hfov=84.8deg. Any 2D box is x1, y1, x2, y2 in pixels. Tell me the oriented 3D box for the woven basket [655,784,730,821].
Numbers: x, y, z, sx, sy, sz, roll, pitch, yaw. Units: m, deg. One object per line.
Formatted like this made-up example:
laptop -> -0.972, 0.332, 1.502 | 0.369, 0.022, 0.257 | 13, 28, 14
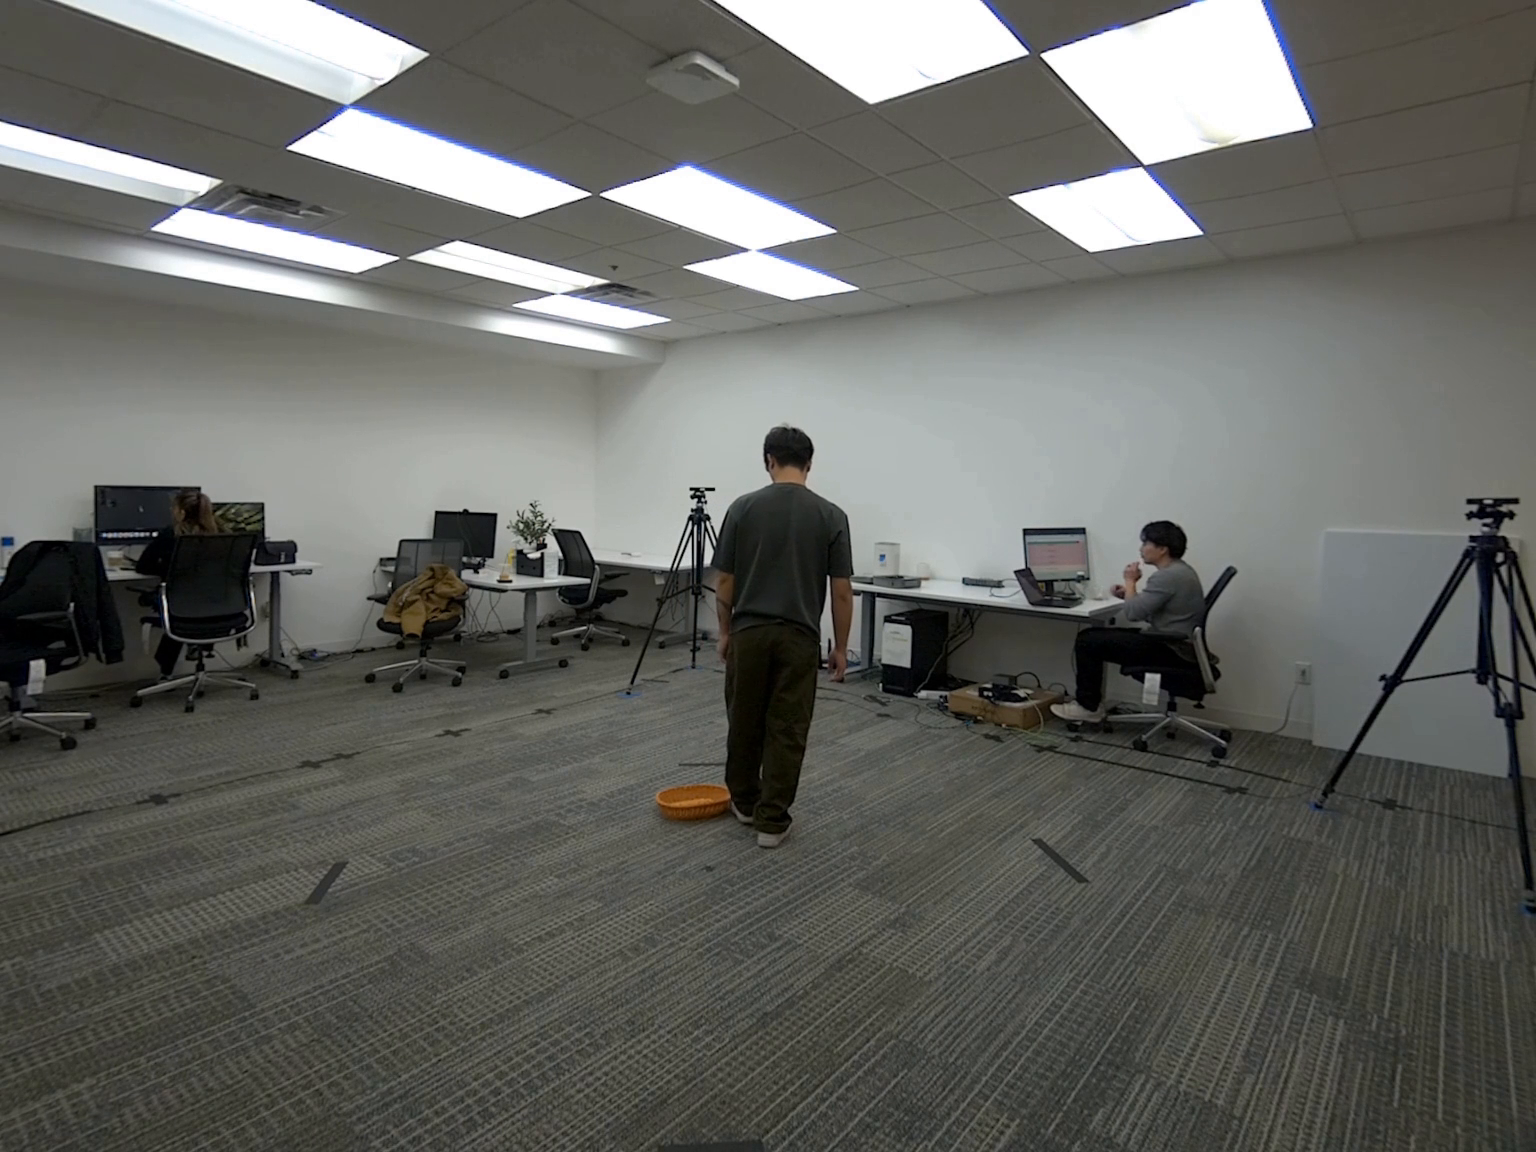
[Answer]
woven basket -> -0.329, 0.968, 3.662 | 0.343, 0.073, 0.259 | -3, 6, -23
